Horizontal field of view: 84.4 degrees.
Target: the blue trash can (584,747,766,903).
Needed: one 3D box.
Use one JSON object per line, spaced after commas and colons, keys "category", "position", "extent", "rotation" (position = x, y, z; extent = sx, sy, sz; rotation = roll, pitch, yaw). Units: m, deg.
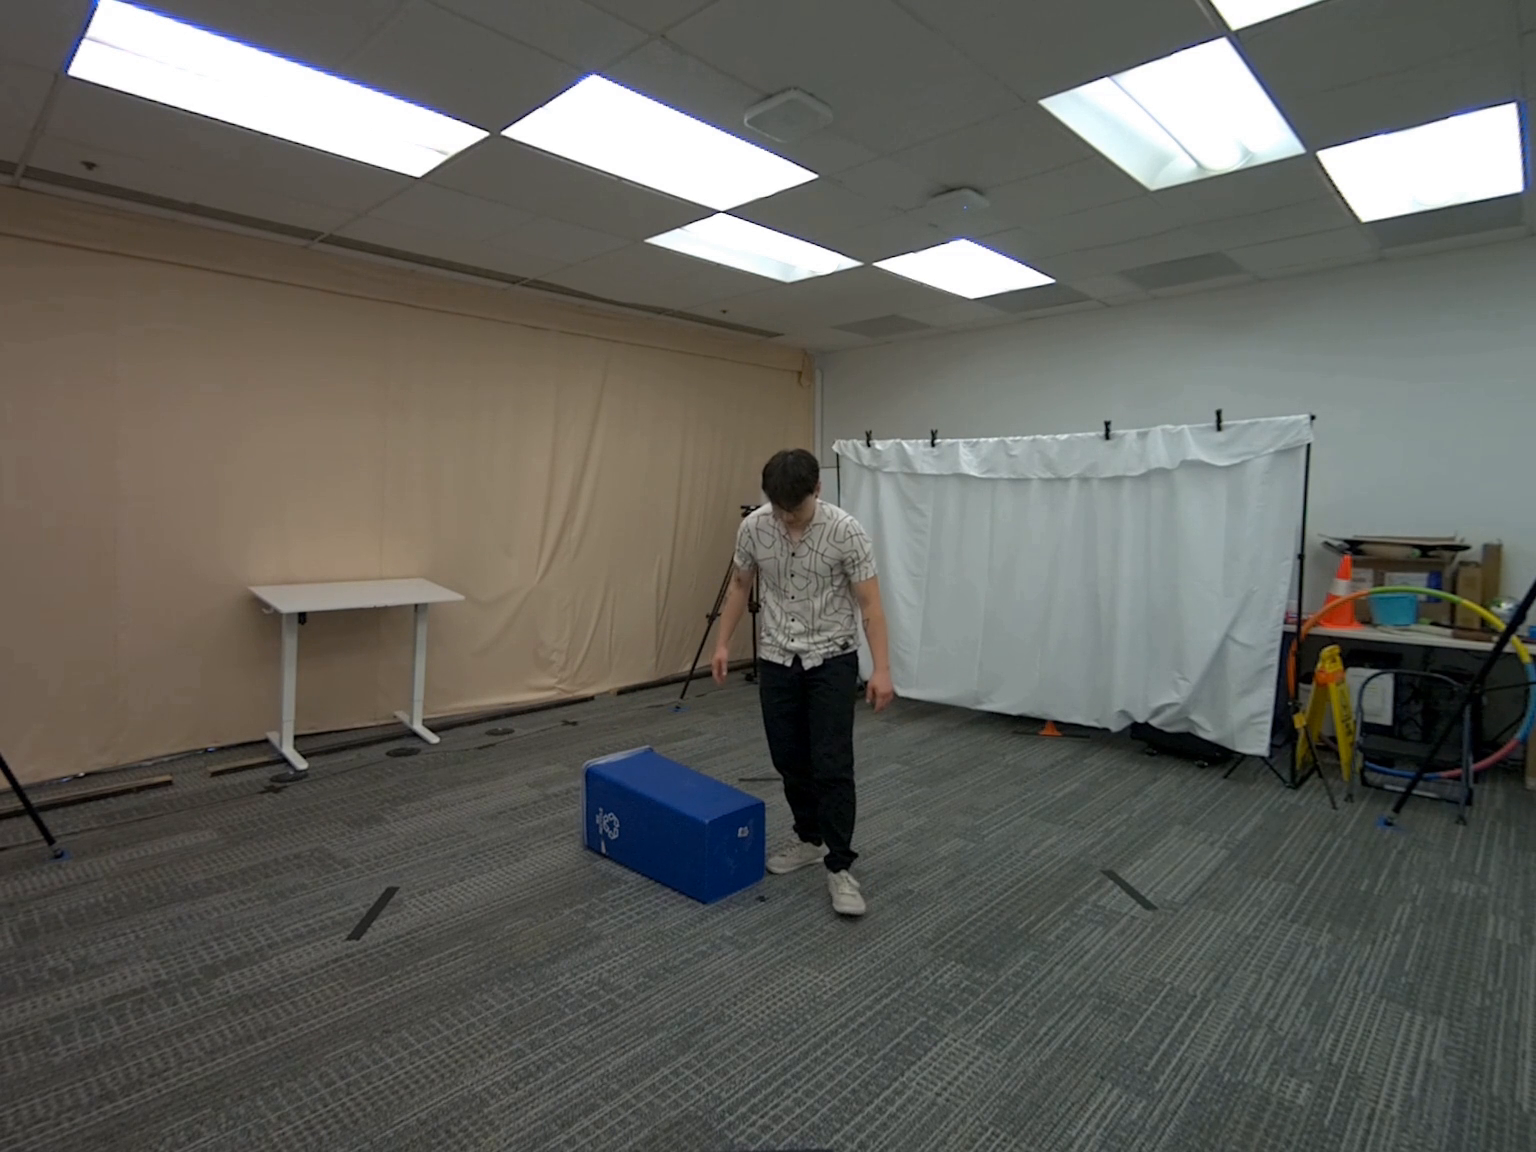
{"category": "blue trash can", "position": [-0.369, 0.949, 3.270], "extent": [0.738, 0.377, 0.362], "rotation": [6, 7, 45]}
